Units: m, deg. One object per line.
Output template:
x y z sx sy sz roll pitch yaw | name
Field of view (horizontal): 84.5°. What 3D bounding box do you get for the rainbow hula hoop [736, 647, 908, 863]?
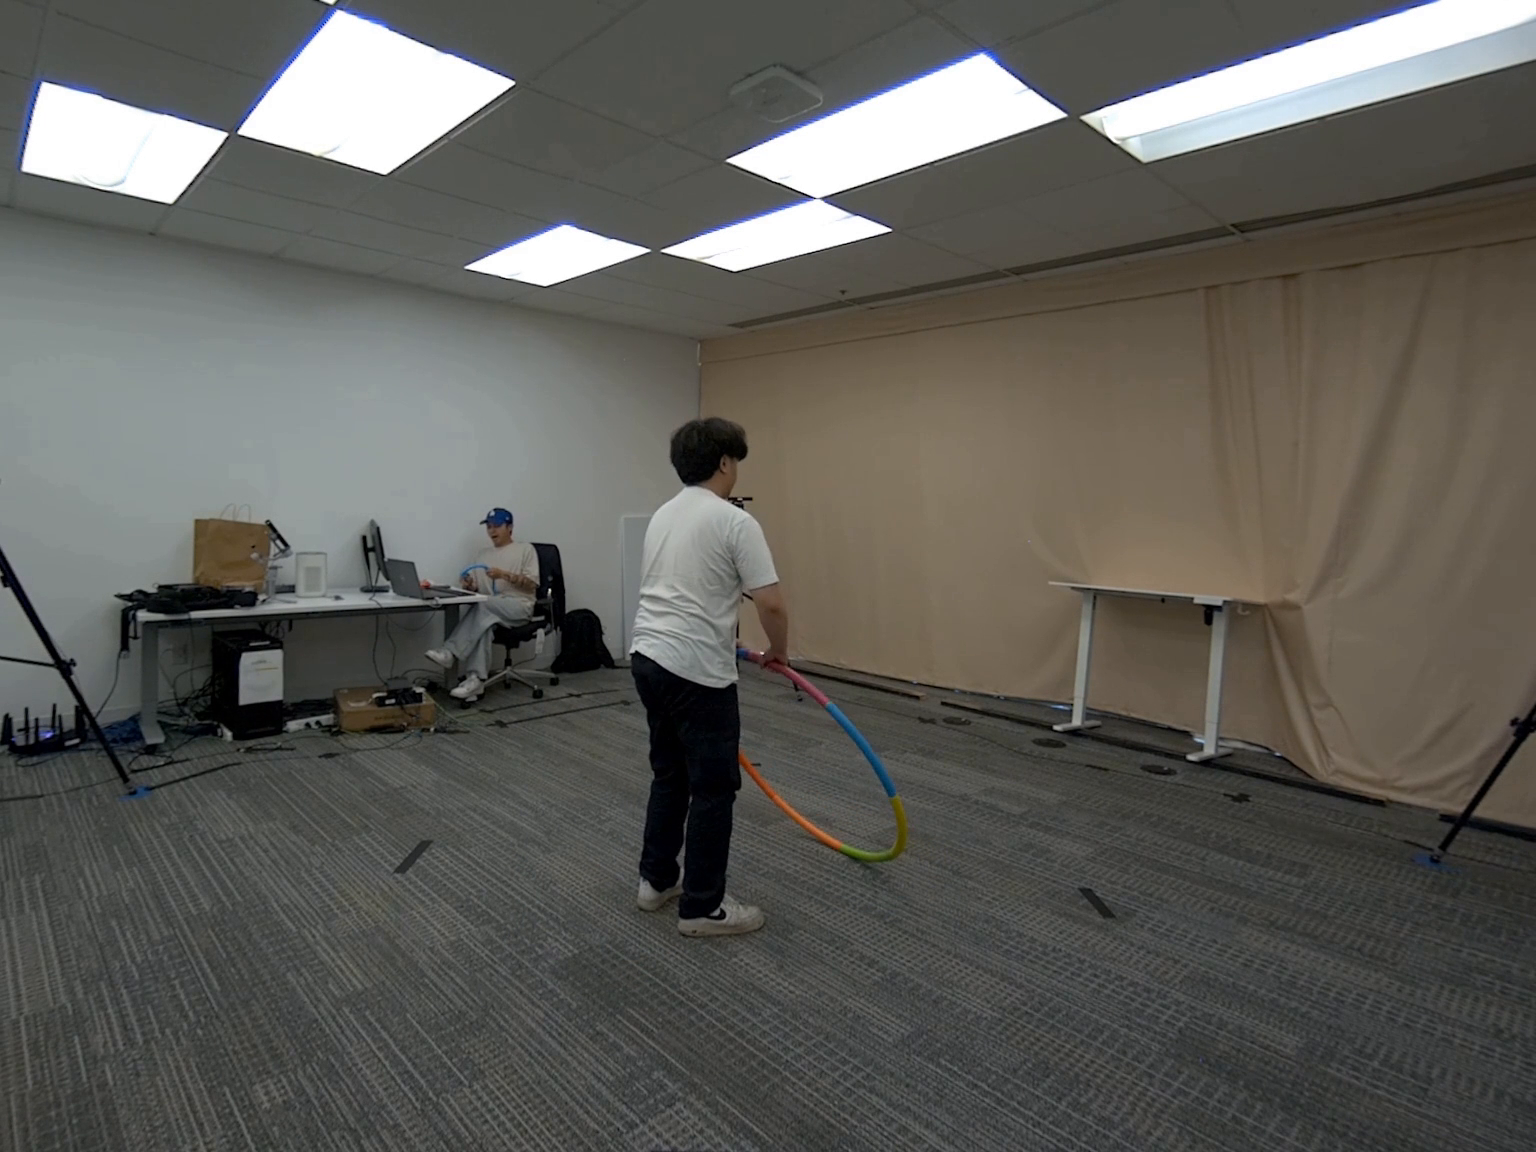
0.113 0.689 3.181 0.051 0.966 1.010 -37 25 -29 | rainbow hula hoop
